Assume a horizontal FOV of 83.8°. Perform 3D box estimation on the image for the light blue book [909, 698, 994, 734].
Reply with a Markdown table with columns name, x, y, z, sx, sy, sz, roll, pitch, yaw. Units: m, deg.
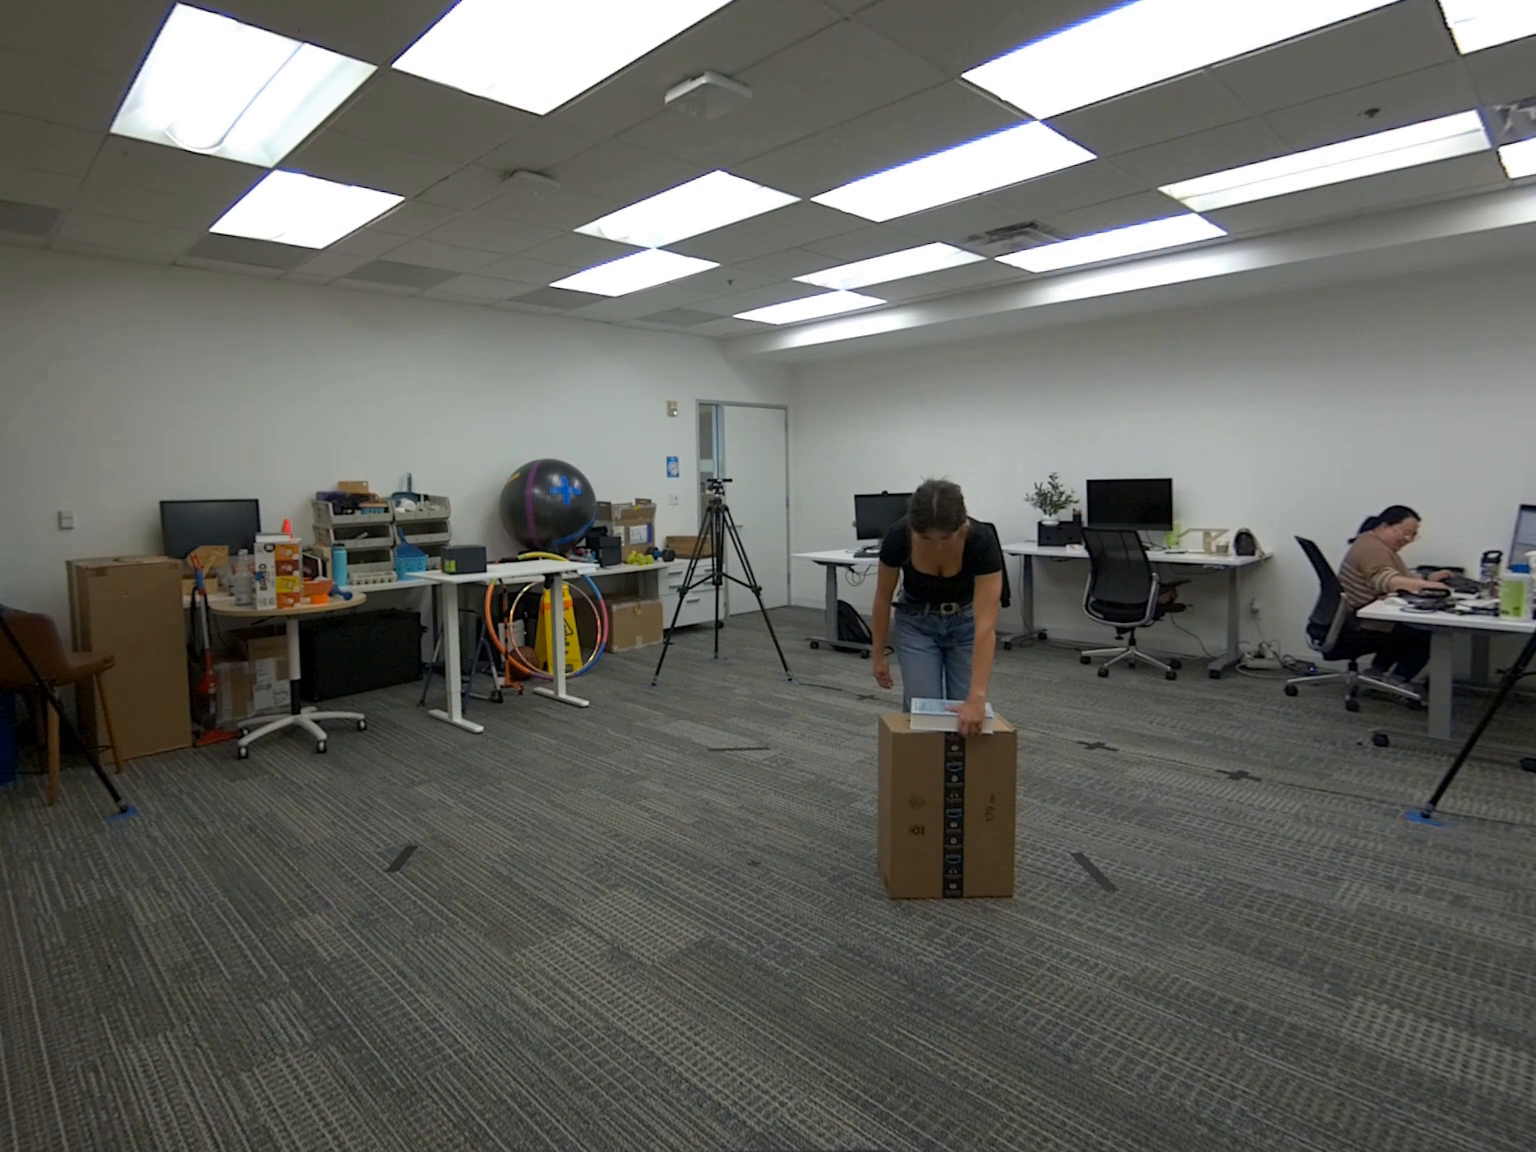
| name | x | y | z | sx | sy | sz | roll | pitch | yaw |
| --- | --- | --- | --- | --- | --- | --- | --- | --- | --- |
| light blue book | 0.622 | 0.473 | 2.883 | 0.264 | 0.059 | 0.190 | 1 | 7 | 12 |
